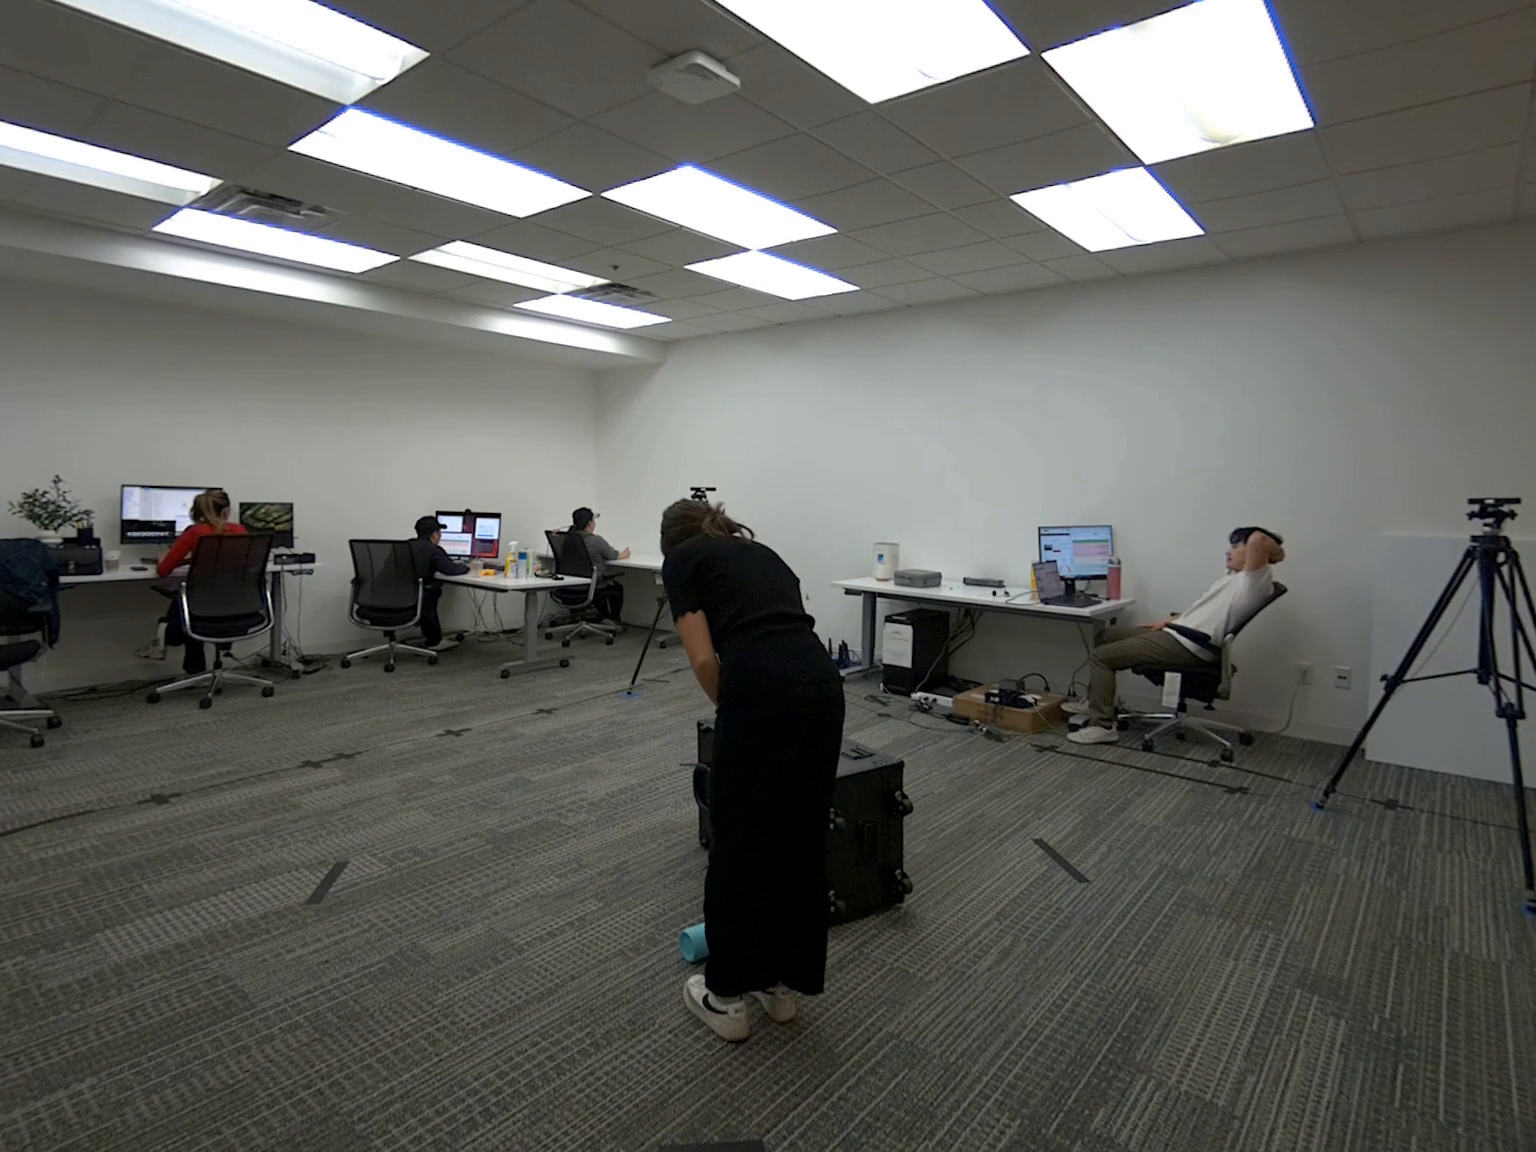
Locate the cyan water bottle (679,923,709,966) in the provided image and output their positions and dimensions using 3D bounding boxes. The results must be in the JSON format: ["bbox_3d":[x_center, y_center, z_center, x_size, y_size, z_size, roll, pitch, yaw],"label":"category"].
[{"bbox_3d":[-0.139,1.068,2.571,0.275,0.092,0.095,-3,6,-38],"label":"cyan water bottle"}]
